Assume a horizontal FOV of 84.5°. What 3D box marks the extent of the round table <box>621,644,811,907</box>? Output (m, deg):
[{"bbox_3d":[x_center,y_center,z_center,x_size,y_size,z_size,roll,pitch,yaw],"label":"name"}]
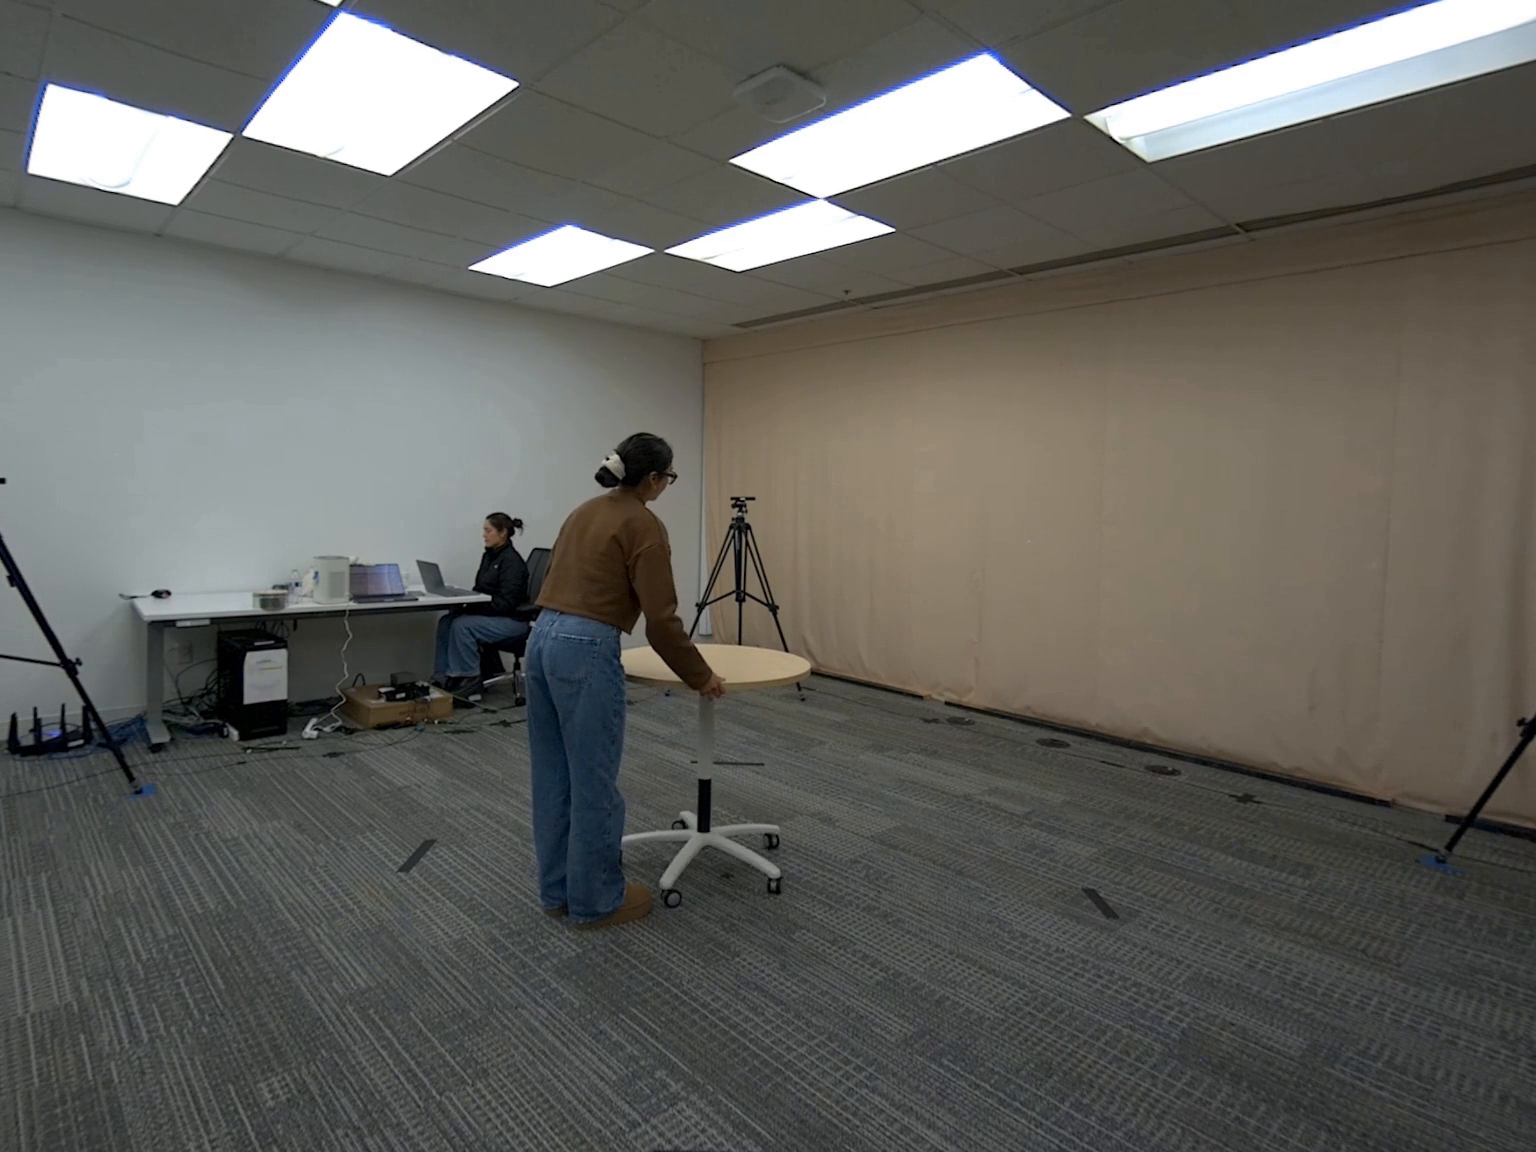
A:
[{"bbox_3d":[-0.237,0.709,3.153,0.763,0.792,0.766,2,4,-1],"label":"round table"}]
